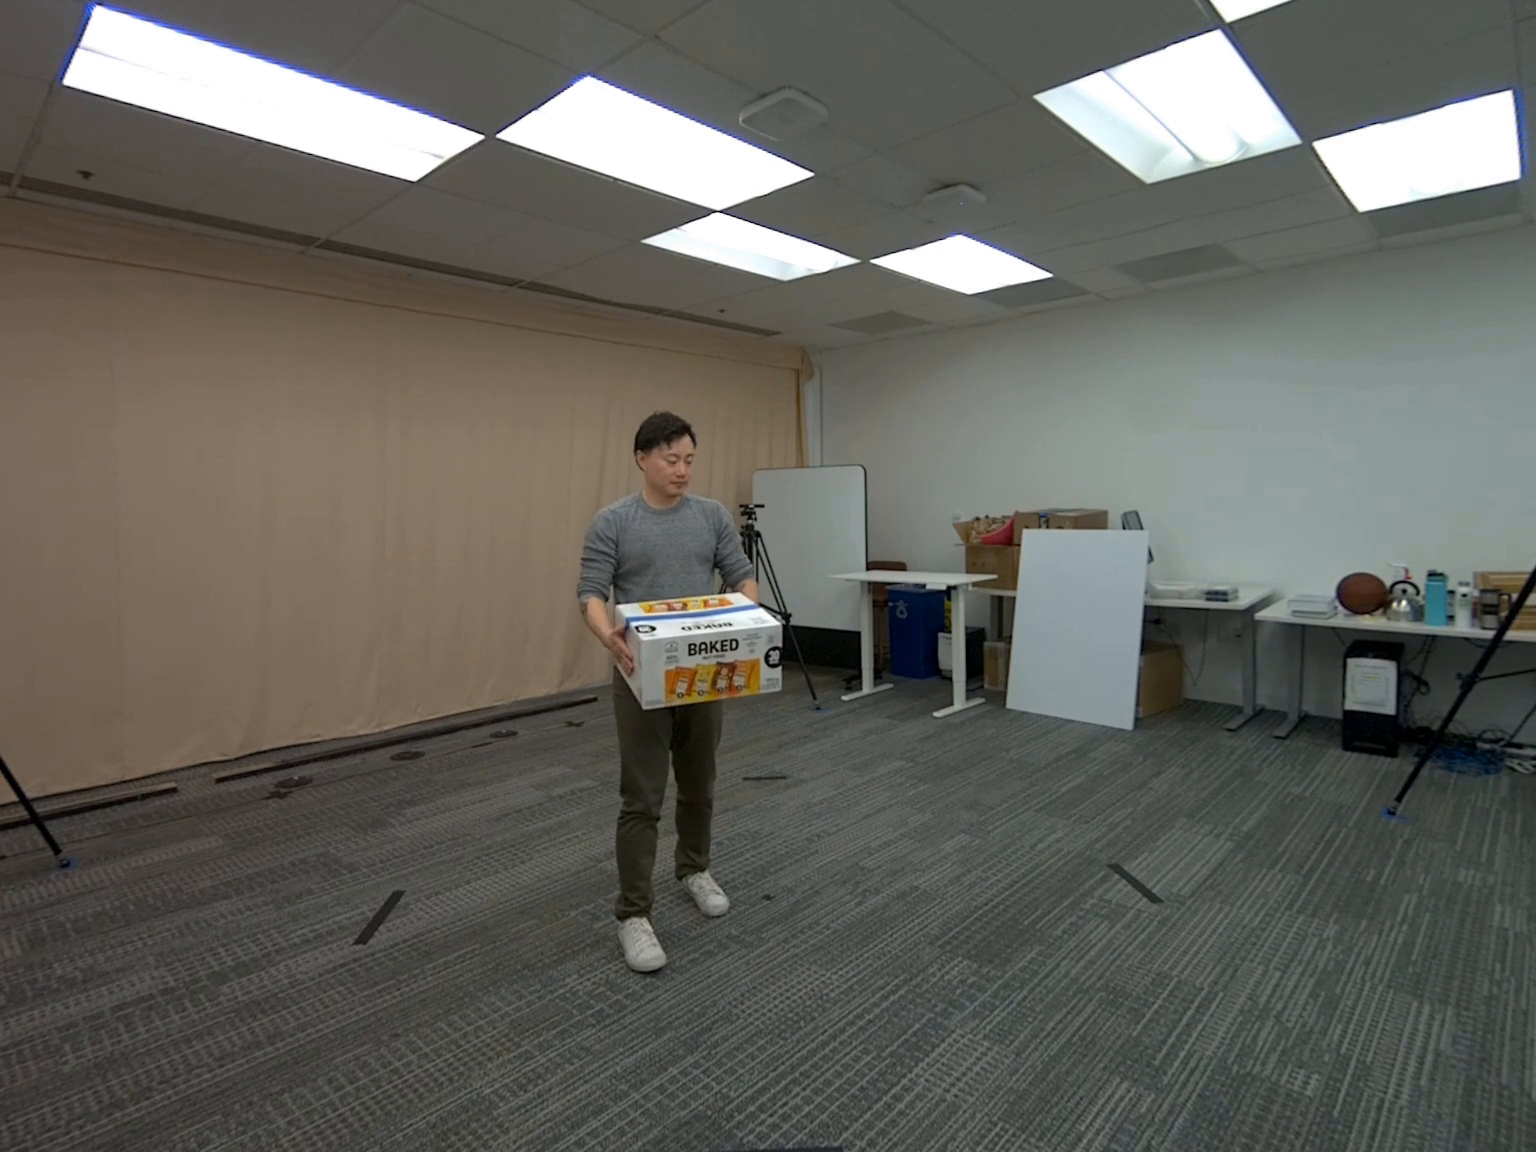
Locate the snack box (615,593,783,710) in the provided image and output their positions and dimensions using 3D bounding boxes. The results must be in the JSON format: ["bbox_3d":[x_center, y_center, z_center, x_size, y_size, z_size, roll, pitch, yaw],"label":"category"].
[{"bbox_3d":[-0.208,0.206,2.455,0.397,0.204,0.350,-5,14,-20],"label":"snack box"}]
